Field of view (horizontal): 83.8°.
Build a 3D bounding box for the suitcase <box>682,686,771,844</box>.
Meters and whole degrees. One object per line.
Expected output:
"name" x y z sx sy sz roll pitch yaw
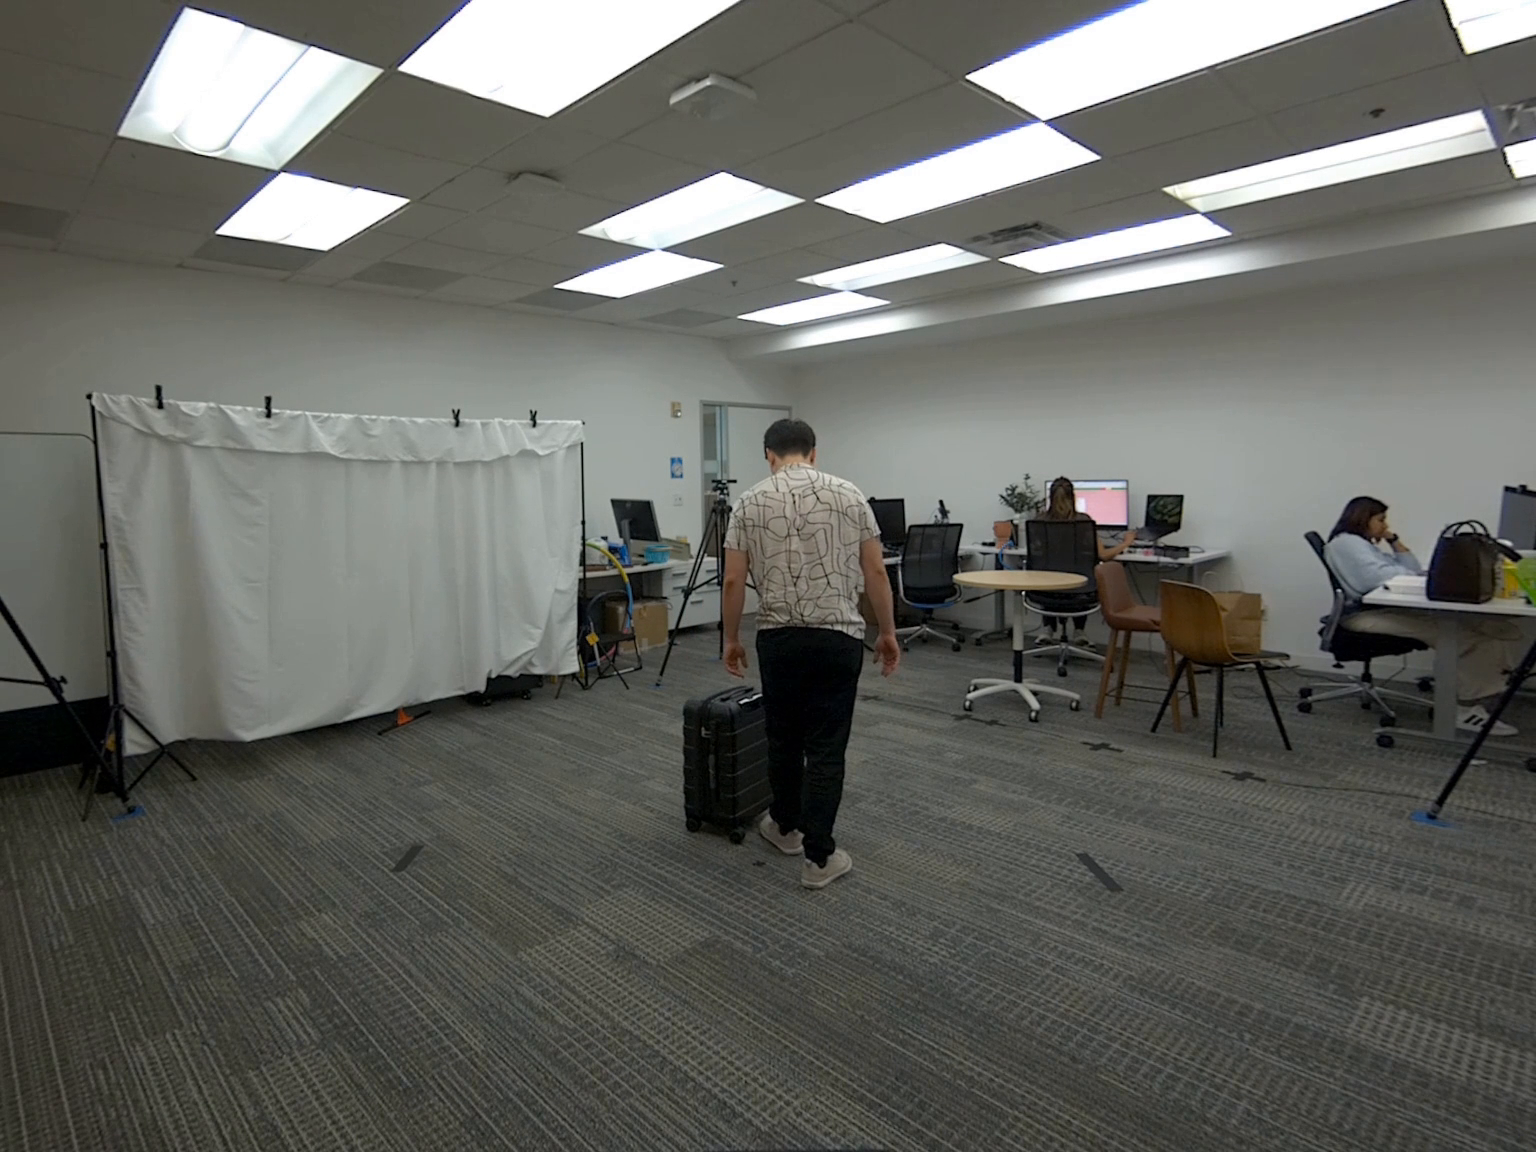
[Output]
"suitcase" -0.155 0.731 3.469 0.255 0.548 0.366 1 4 34
